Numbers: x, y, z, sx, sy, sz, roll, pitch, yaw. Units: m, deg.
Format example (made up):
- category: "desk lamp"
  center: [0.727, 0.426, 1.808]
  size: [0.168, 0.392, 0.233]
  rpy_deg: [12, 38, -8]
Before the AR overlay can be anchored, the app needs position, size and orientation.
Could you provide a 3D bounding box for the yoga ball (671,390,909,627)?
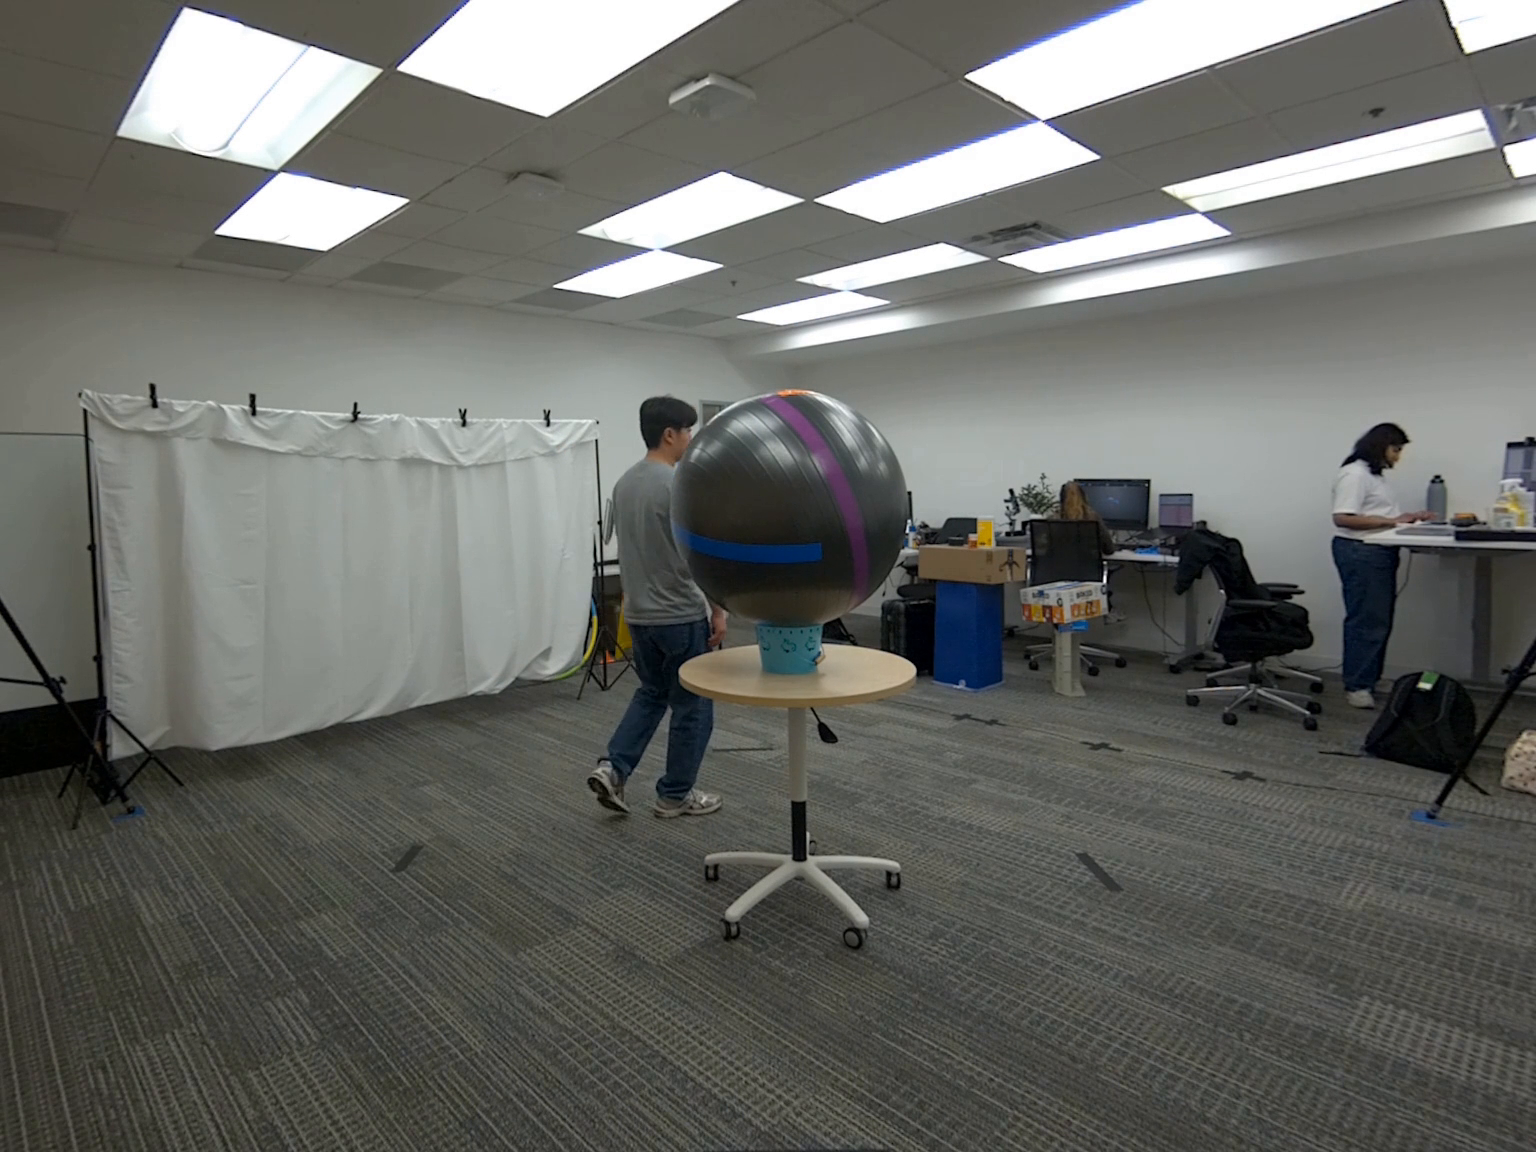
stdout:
- category: "yoga ball"
  center: [0.067, -0.210, 2.740]
  size: [0.757, 0.755, 0.762]
  rpy_deg: [-1, 5, -2]
